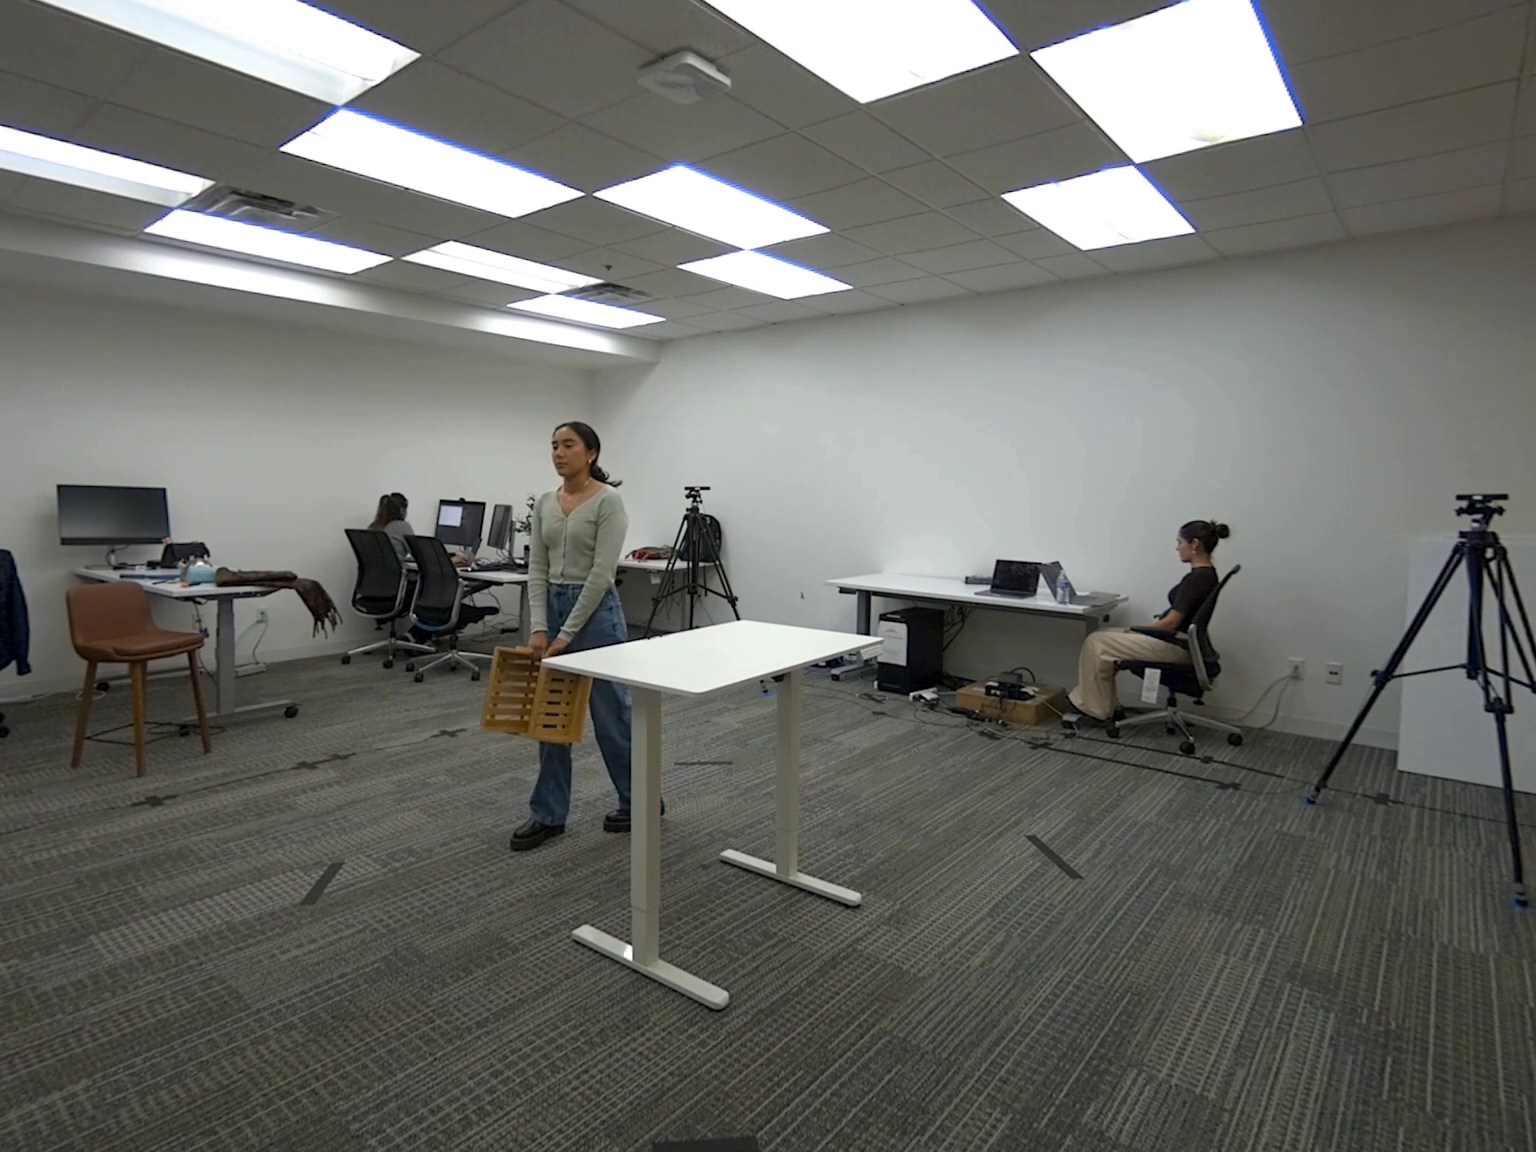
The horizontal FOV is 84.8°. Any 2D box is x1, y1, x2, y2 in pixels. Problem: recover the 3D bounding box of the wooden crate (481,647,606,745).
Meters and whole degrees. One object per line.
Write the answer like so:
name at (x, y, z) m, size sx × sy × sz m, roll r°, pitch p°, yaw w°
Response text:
wooden crate at (-0.882, 0.448, 3.191) m, size 0.282 × 0.326 × 0.291 m, roll 7°, pitch -6°, yaw 37°
